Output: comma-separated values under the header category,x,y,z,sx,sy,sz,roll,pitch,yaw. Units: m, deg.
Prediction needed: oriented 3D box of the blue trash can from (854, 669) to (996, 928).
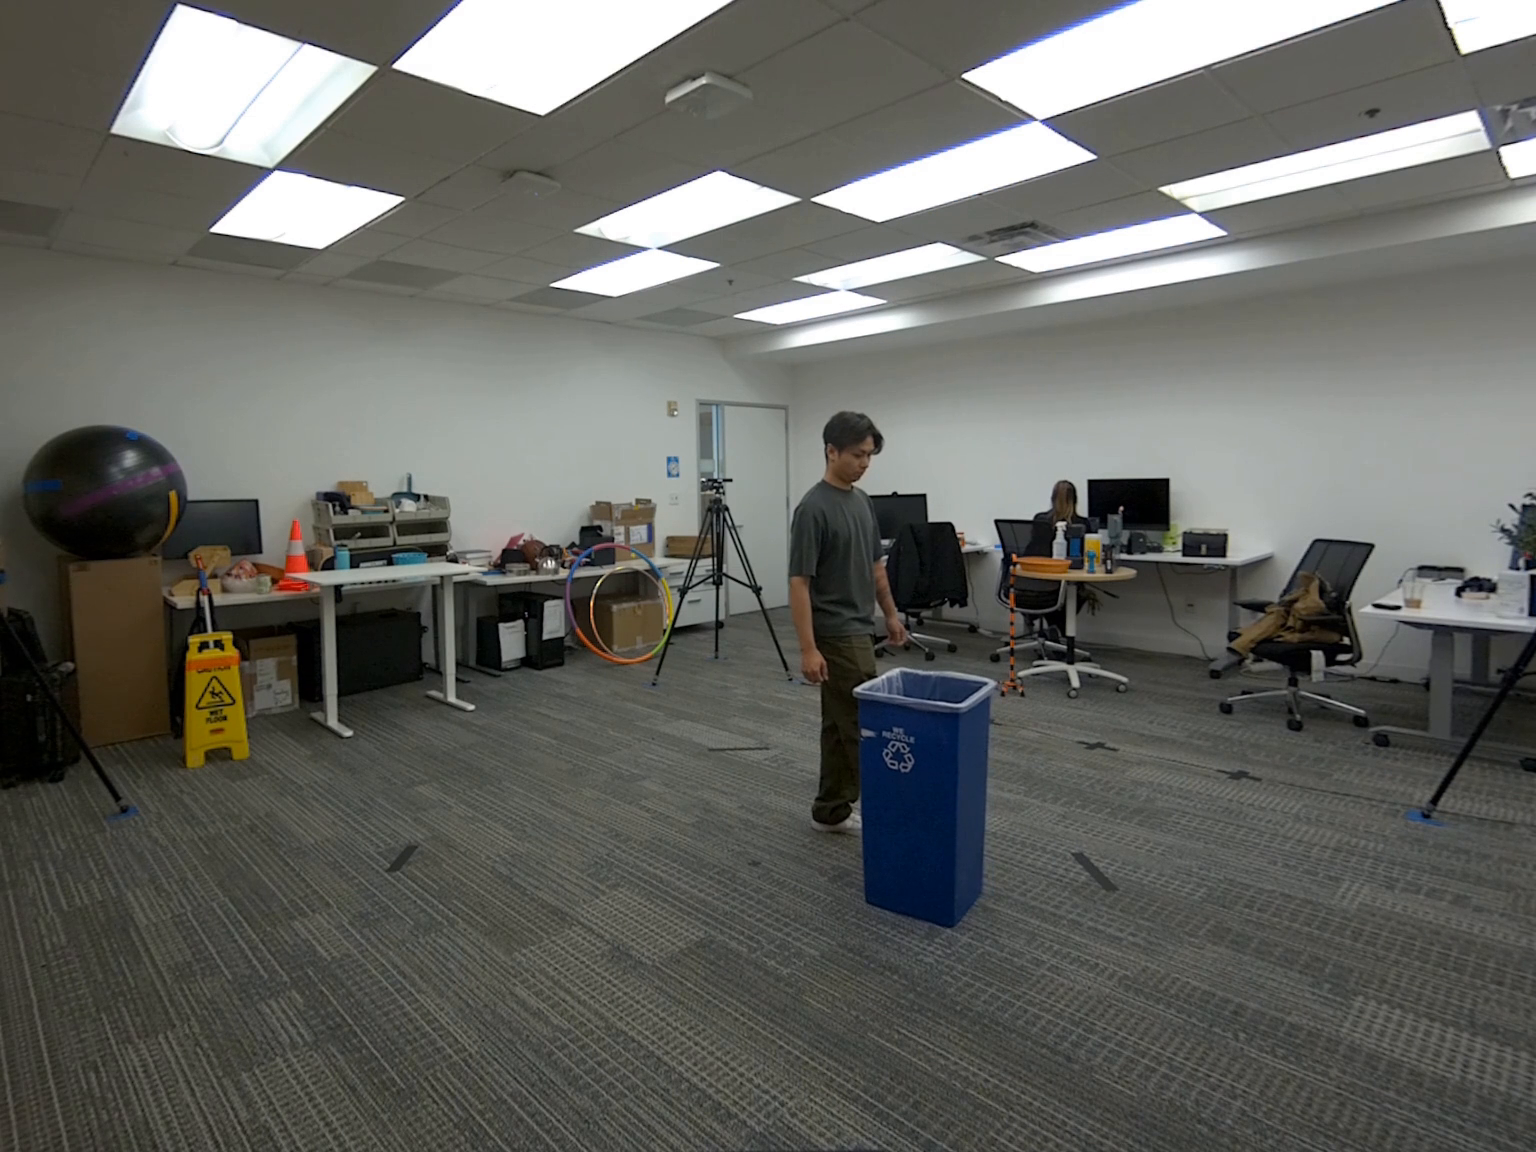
category,x,y,z,sx,sy,sz,roll,pitch,yaw
blue trash can,0.522,0.712,2.811,0.388,0.710,0.366,2,6,31
